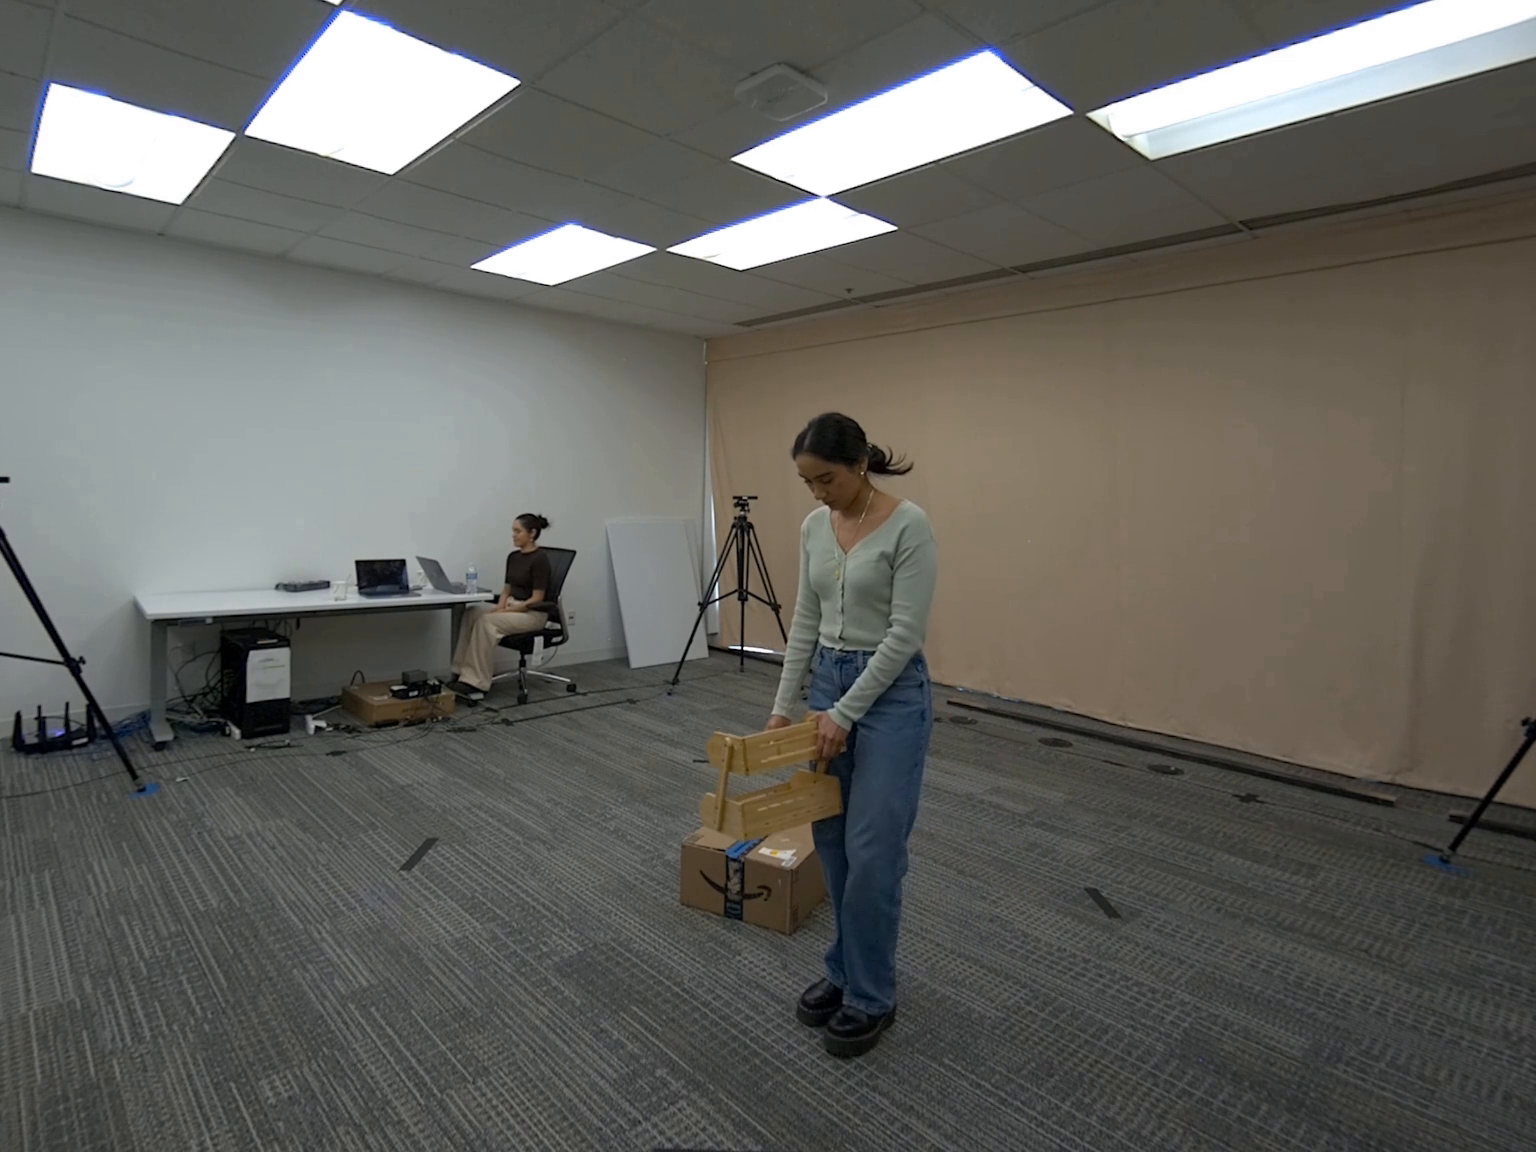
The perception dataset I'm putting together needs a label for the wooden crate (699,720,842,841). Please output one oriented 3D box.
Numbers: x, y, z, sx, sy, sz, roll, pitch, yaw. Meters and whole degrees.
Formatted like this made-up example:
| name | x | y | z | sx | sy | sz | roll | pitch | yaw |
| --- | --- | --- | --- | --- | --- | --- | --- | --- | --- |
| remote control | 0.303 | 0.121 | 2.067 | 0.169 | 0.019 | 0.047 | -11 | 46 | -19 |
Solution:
| name | x | y | z | sx | sy | sz | roll | pitch | yaw |
| --- | --- | --- | --- | --- | --- | --- | --- | --- | --- |
| wooden crate | 0.001 | 0.508 | 2.225 | 0.318 | 0.274 | 0.307 | -7 | -2 | -30 |
